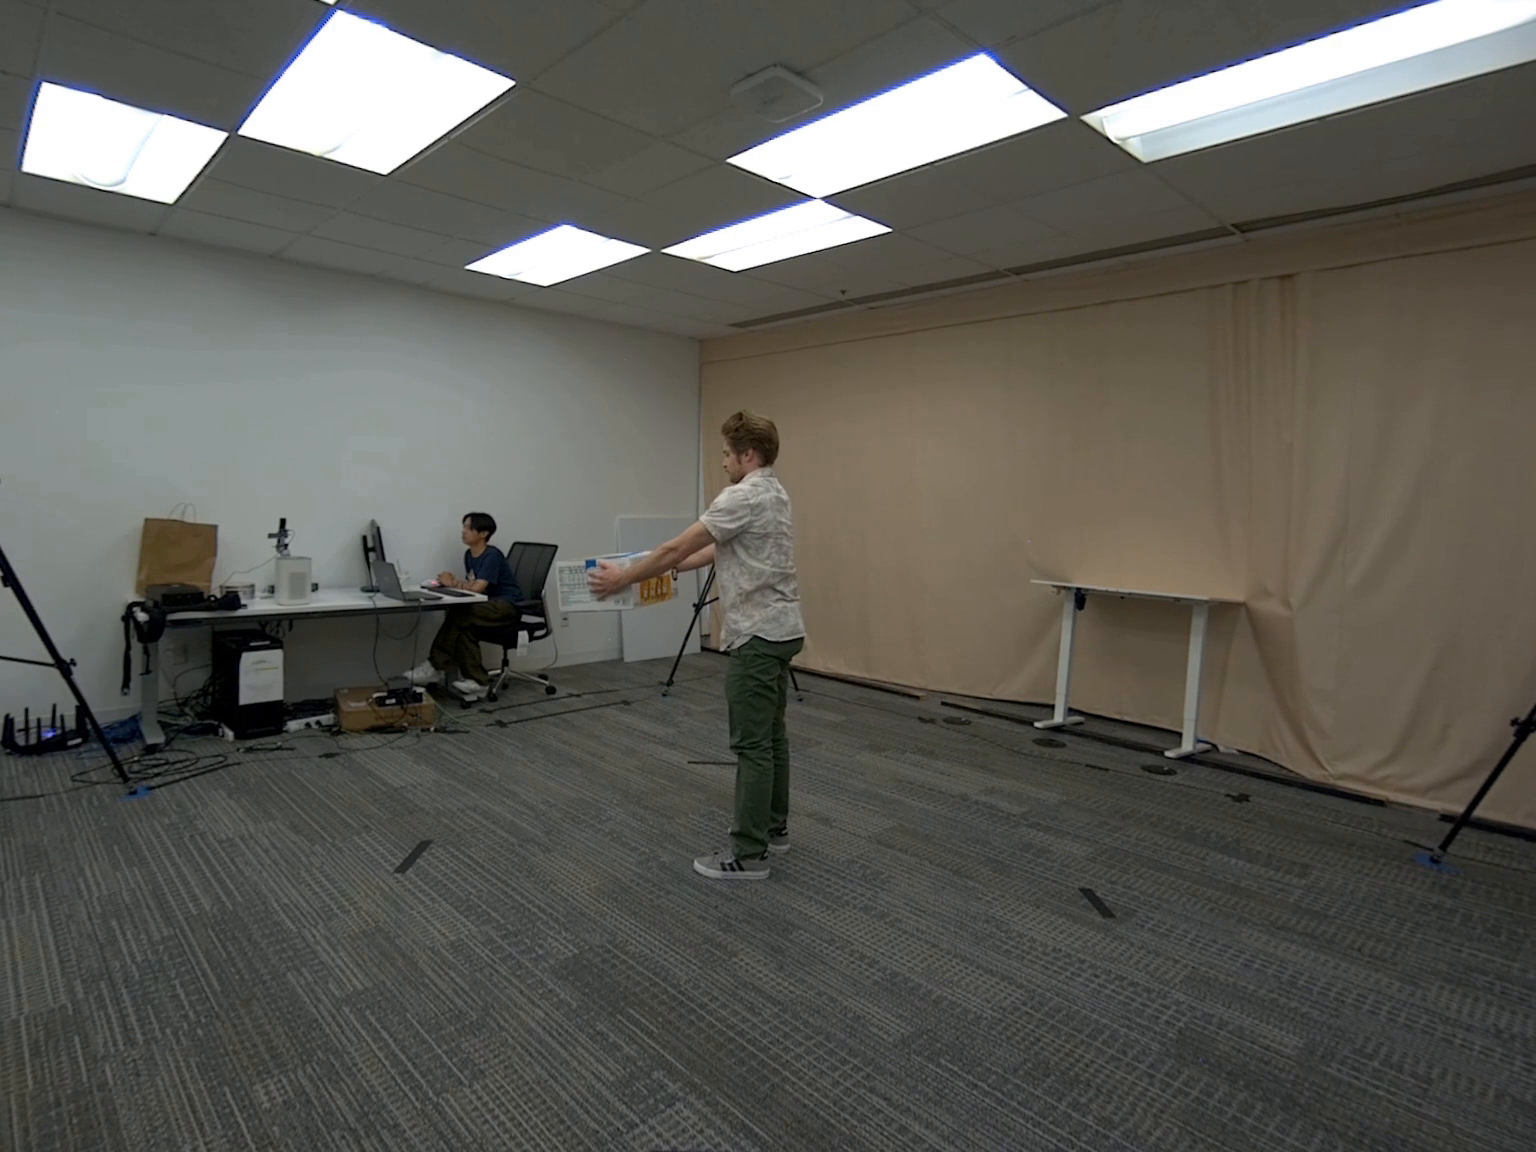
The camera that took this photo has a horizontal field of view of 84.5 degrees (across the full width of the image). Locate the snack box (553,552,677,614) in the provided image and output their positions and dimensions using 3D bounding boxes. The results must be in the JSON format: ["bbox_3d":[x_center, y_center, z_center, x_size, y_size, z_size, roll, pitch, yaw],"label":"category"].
[{"bbox_3d":[-0.614,0.017,3.473,0.345,0.205,0.400,-3,4,21],"label":"snack box"}]
